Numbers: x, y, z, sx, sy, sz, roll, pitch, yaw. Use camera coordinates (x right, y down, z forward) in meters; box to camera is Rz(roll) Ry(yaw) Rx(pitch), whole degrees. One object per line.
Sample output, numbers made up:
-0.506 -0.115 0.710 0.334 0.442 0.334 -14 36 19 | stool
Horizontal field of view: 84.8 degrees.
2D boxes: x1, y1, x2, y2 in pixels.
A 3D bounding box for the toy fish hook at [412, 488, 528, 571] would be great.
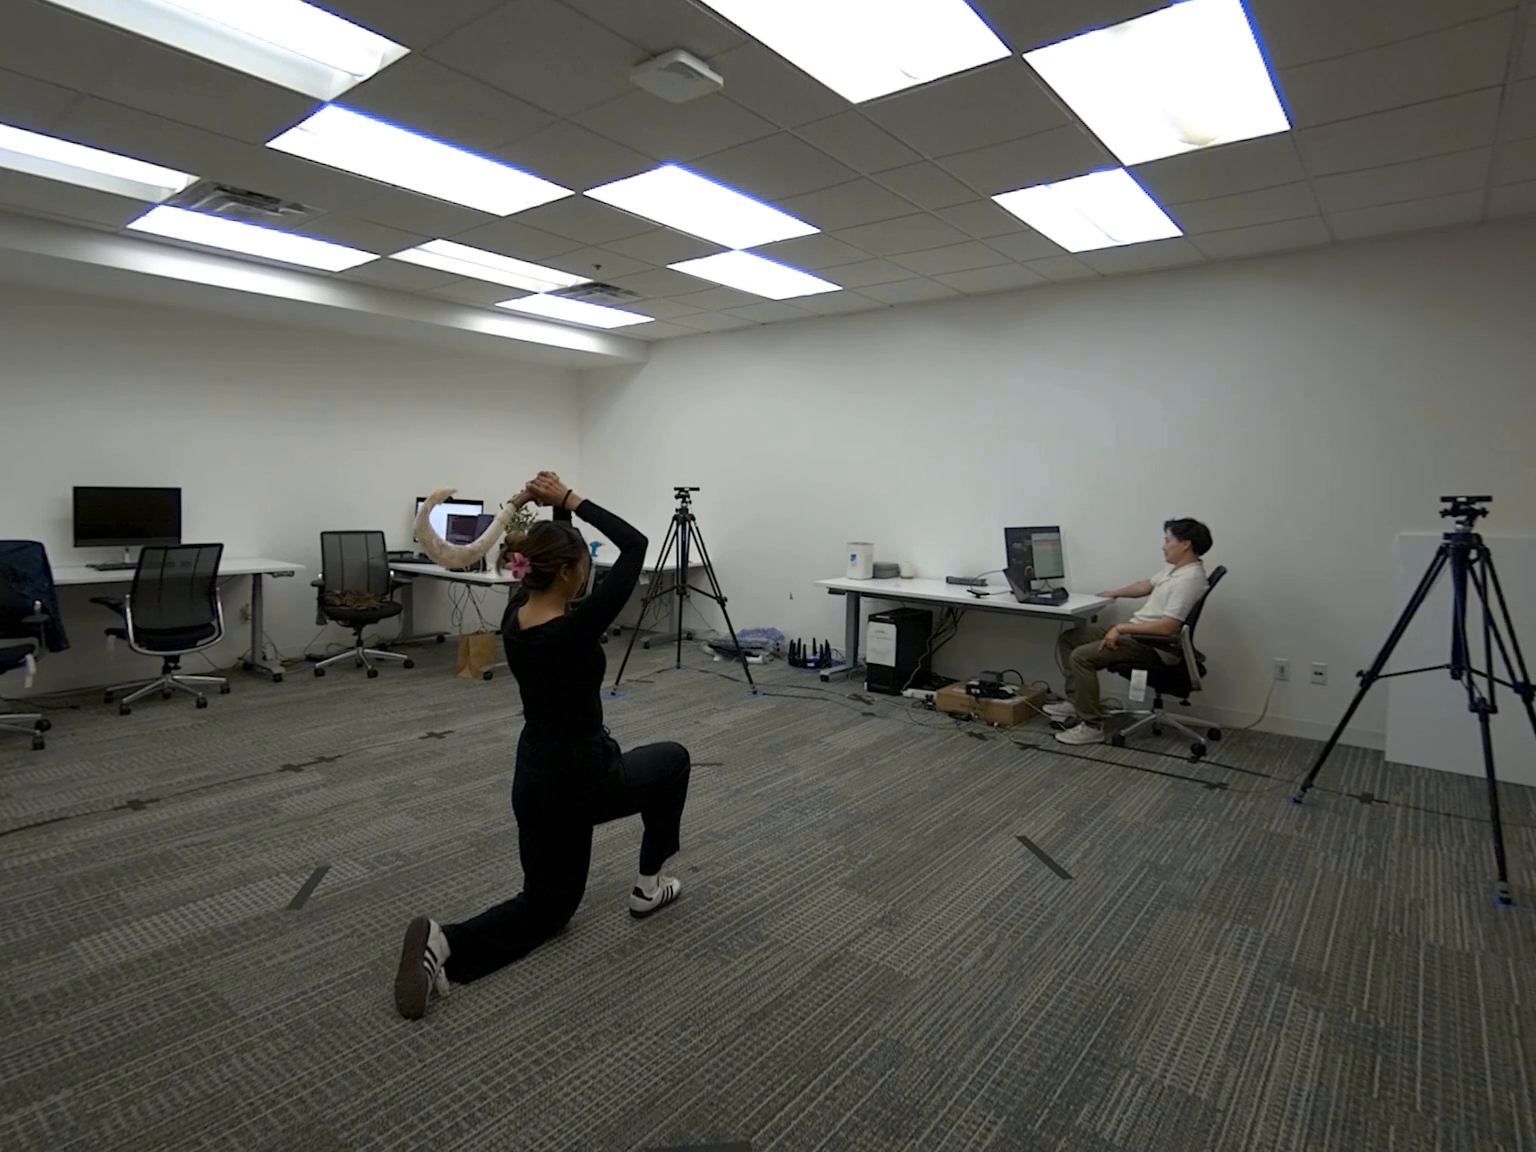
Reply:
-0.799 -0.234 2.459 0.049 0.221 0.505 -20 18 44 | toy fish hook
